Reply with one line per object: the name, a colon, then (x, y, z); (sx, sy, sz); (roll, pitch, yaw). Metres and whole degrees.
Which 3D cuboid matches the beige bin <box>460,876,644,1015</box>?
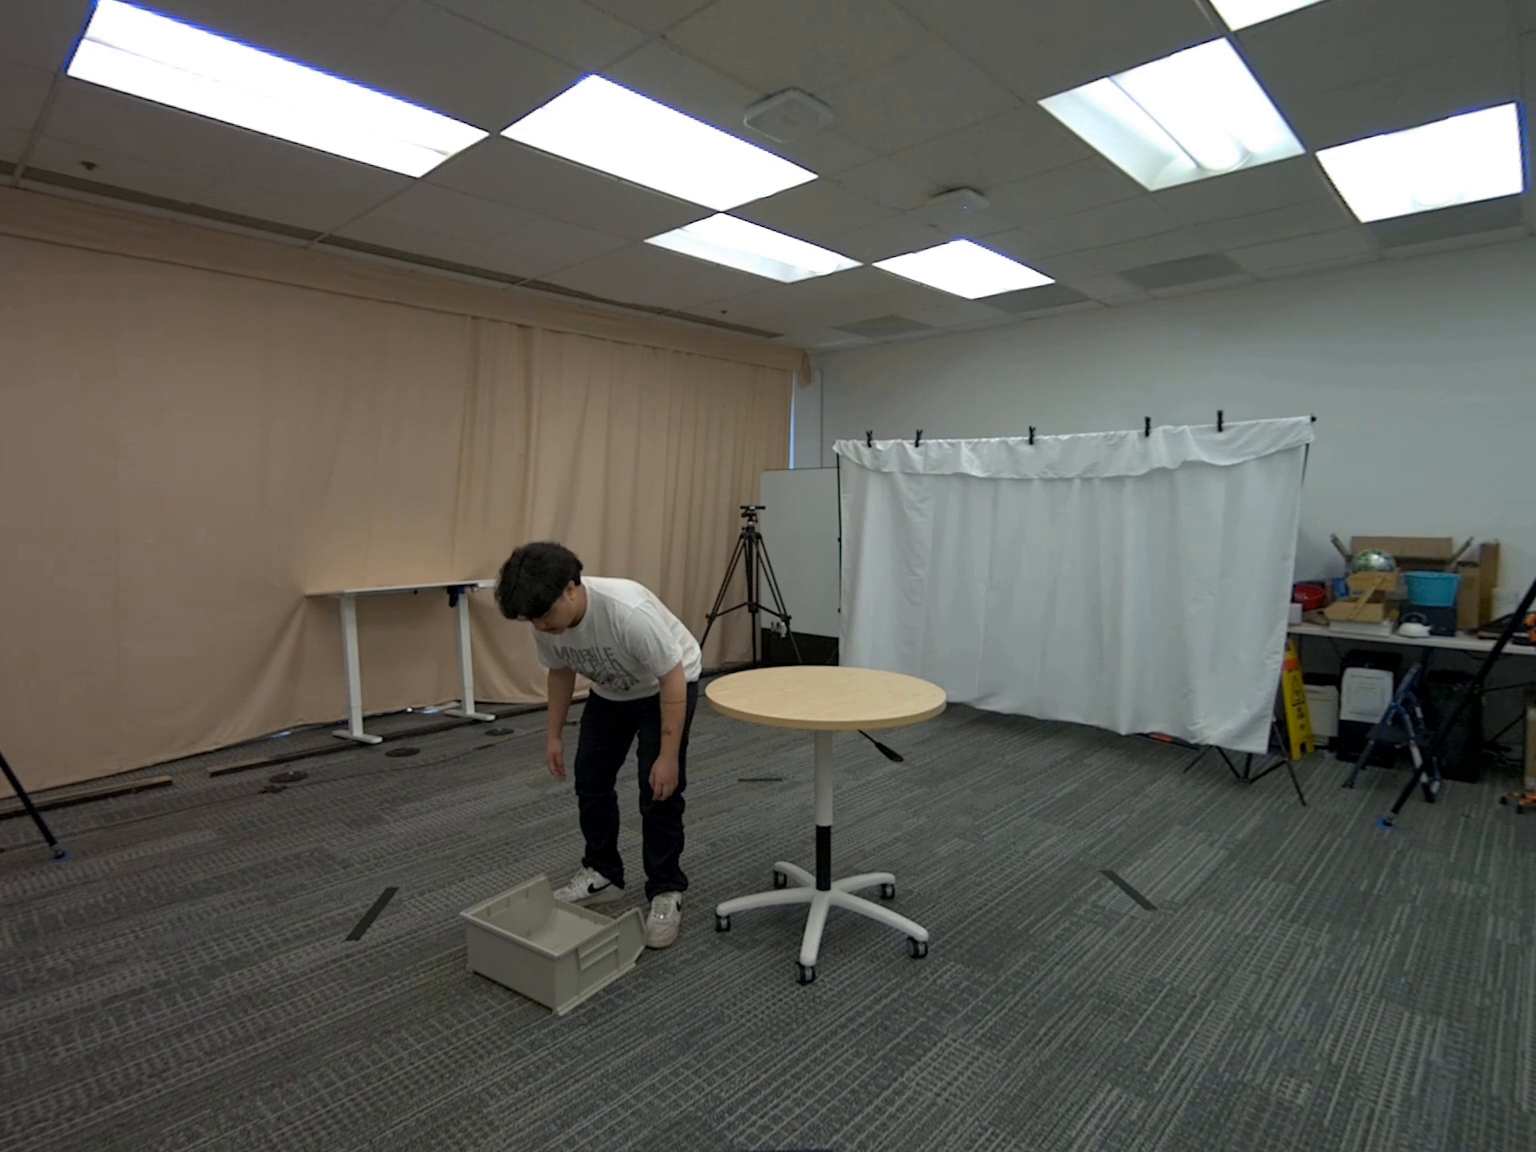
beige bin: (-0.645, 1.095, 2.556); (0.435, 0.188, 0.367); (4, 6, 34)
